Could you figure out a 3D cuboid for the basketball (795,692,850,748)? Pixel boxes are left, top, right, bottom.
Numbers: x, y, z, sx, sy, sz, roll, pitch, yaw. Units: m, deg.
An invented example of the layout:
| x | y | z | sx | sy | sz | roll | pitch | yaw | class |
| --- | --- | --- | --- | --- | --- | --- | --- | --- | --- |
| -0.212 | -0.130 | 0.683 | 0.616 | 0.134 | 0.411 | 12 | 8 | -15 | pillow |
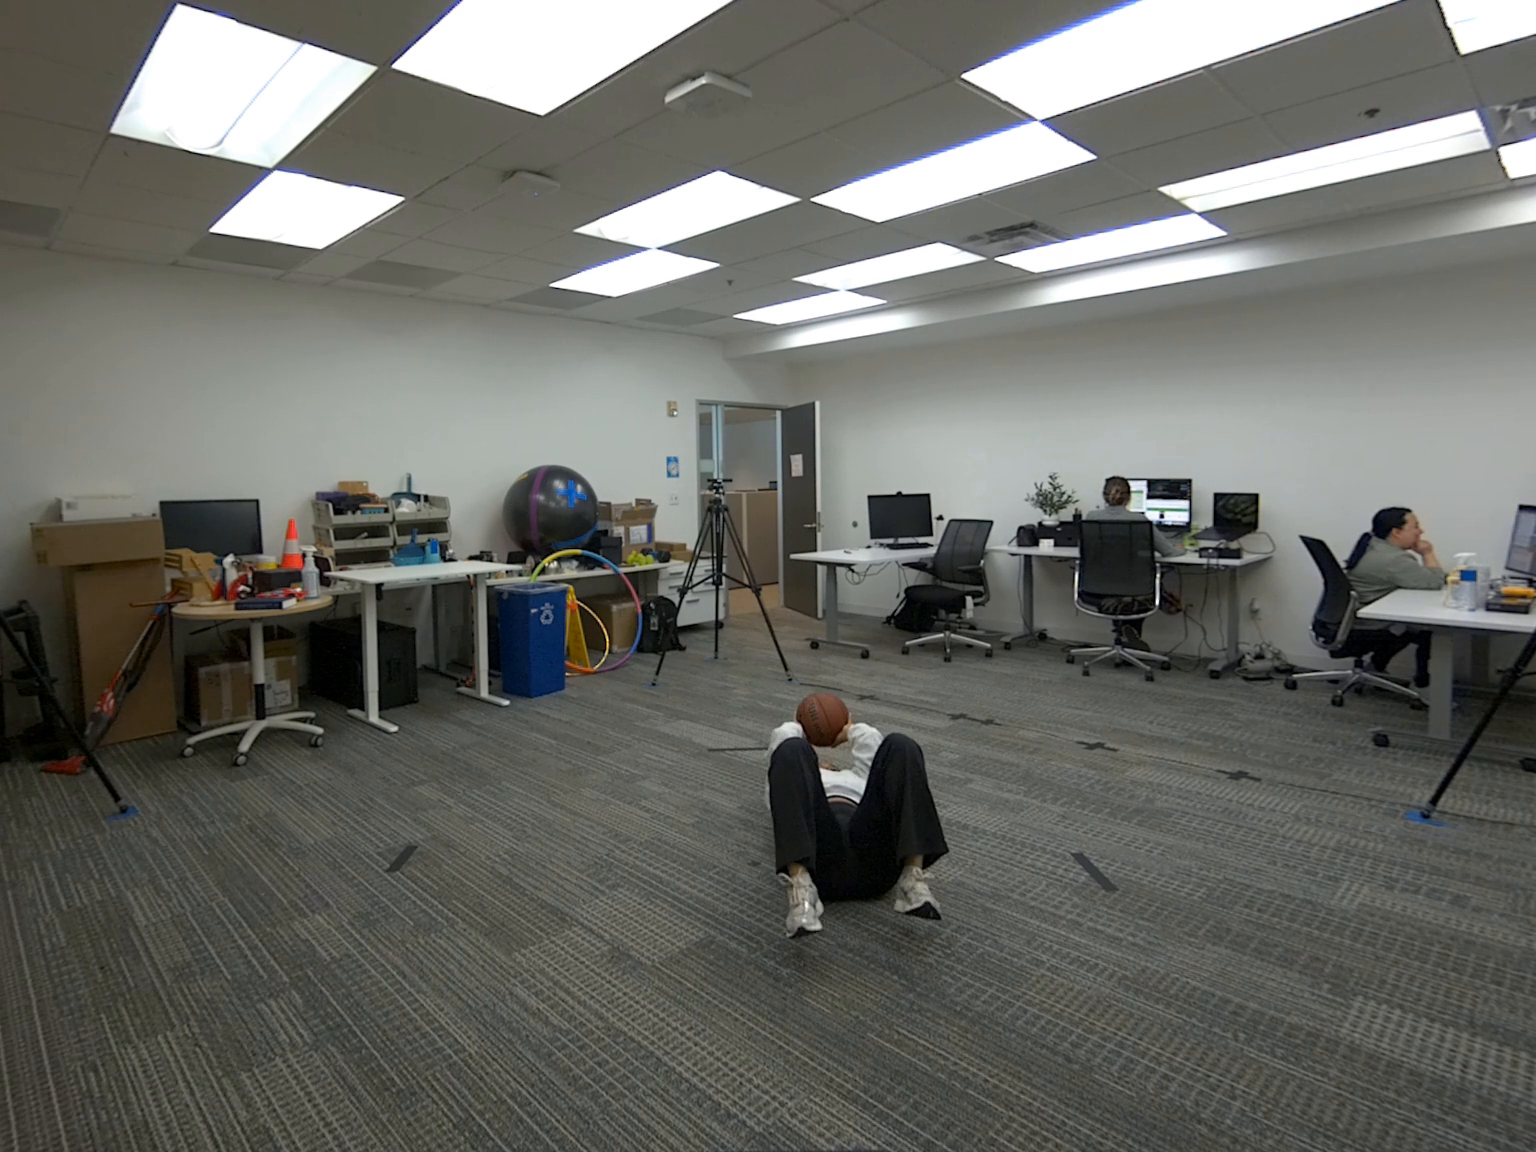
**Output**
| x | y | z | sx | sy | sz | roll | pitch | yaw | class |
| --- | --- | --- | --- | --- | --- | --- | --- | --- | --- |
| 0.243 | 0.626 | 3.759 | 0.236 | 0.235 | 0.237 | -1 | 5 | -2 | basketball |
